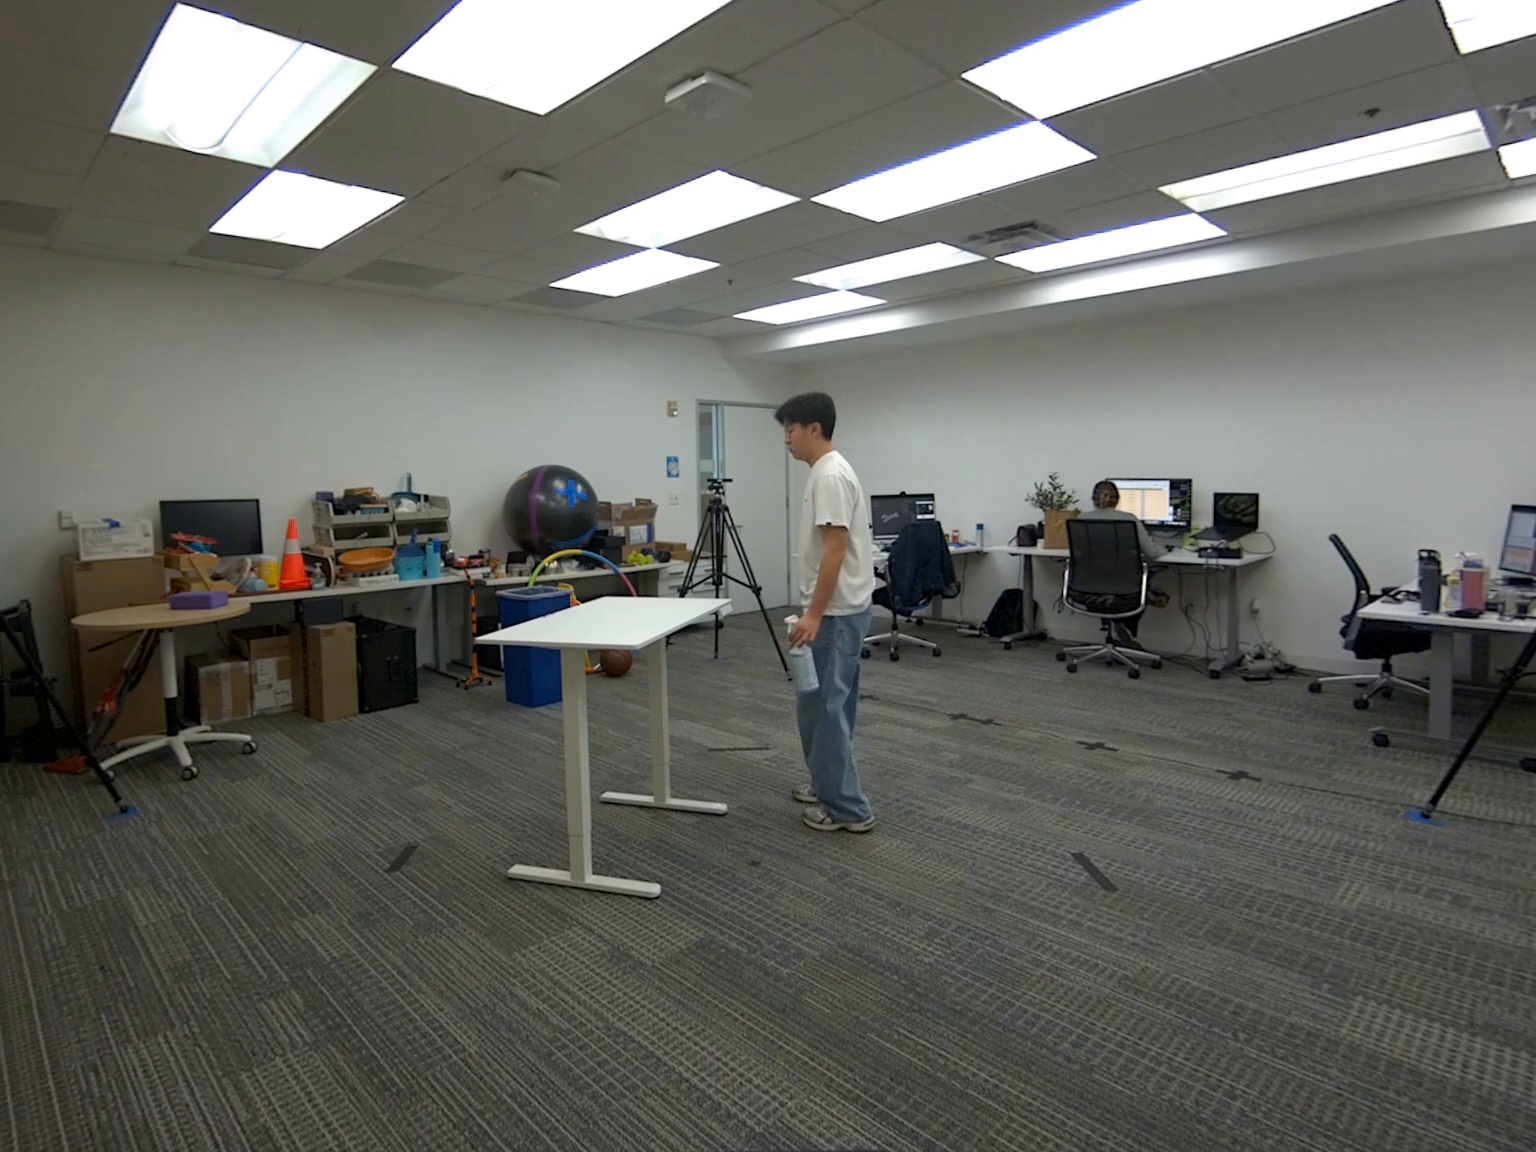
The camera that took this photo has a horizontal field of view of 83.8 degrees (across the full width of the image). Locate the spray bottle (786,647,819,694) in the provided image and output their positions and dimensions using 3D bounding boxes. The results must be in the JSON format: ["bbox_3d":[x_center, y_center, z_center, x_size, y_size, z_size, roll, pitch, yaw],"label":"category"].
[{"bbox_3d":[0.130,0.298,3.244,0.088,0.295,0.089,-16,7,-32],"label":"spray bottle"}]
